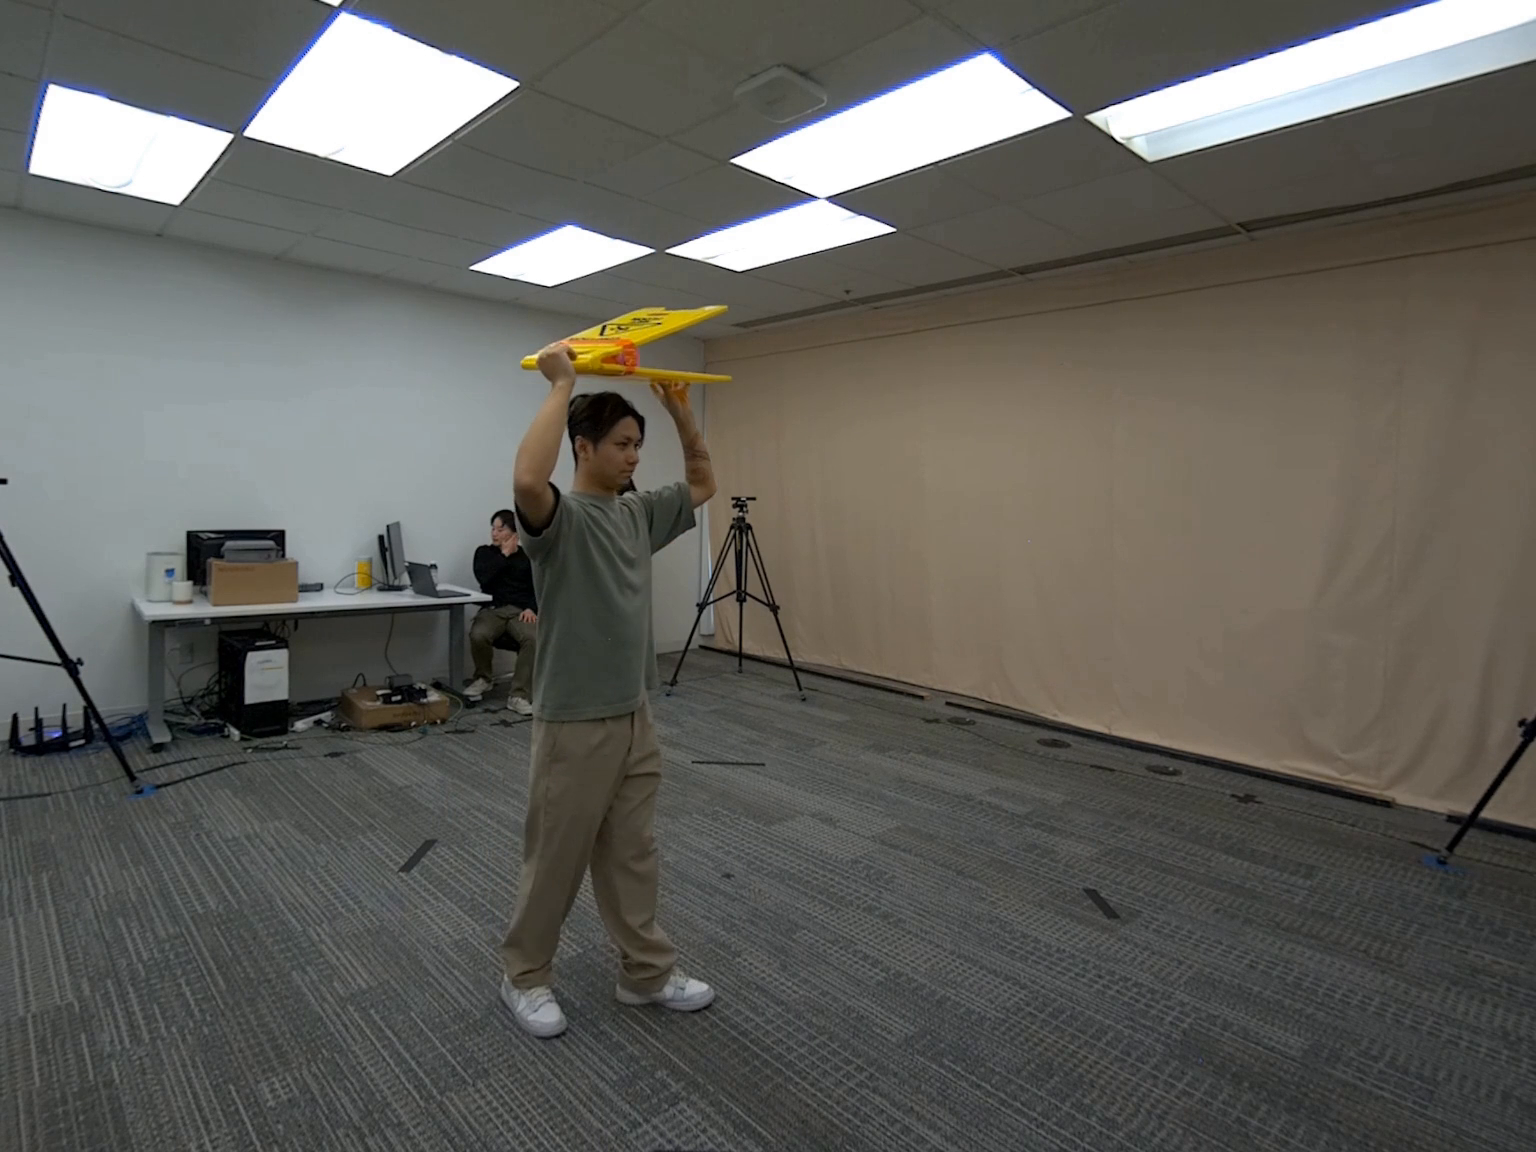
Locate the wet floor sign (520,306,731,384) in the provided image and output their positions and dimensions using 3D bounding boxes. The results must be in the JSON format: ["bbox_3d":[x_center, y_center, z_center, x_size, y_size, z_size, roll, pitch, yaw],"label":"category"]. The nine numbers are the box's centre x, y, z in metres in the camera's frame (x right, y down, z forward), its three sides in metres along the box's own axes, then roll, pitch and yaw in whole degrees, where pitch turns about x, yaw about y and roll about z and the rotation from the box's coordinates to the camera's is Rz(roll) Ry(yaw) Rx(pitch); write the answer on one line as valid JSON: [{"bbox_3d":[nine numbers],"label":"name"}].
[{"bbox_3d":[-0.371,-0.578,2.182,0.288,0.286,0.641,4,17,24],"label":"wet floor sign"}]
